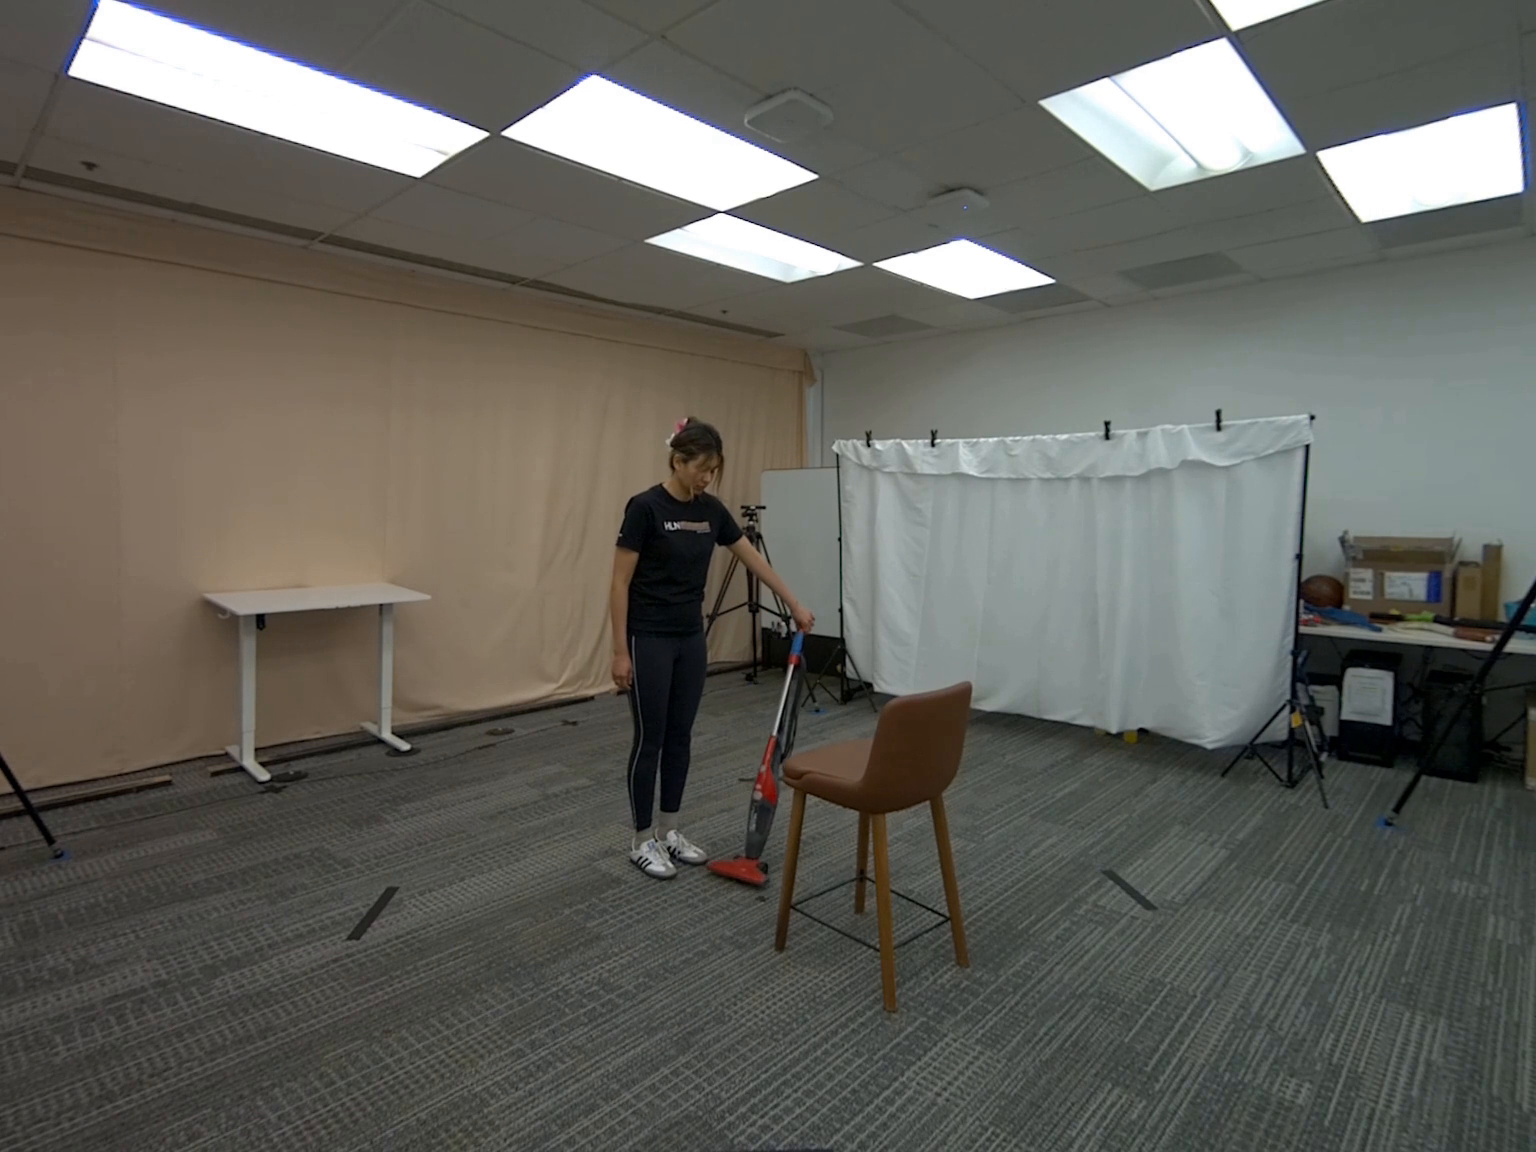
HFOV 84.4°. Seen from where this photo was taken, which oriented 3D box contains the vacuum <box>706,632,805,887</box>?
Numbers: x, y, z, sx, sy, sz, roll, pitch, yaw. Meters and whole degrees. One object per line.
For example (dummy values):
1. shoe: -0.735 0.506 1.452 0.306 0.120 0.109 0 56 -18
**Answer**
1. vacuum: 0.047 0.651 3.339 0.260 1.055 0.139 1 -27 36
